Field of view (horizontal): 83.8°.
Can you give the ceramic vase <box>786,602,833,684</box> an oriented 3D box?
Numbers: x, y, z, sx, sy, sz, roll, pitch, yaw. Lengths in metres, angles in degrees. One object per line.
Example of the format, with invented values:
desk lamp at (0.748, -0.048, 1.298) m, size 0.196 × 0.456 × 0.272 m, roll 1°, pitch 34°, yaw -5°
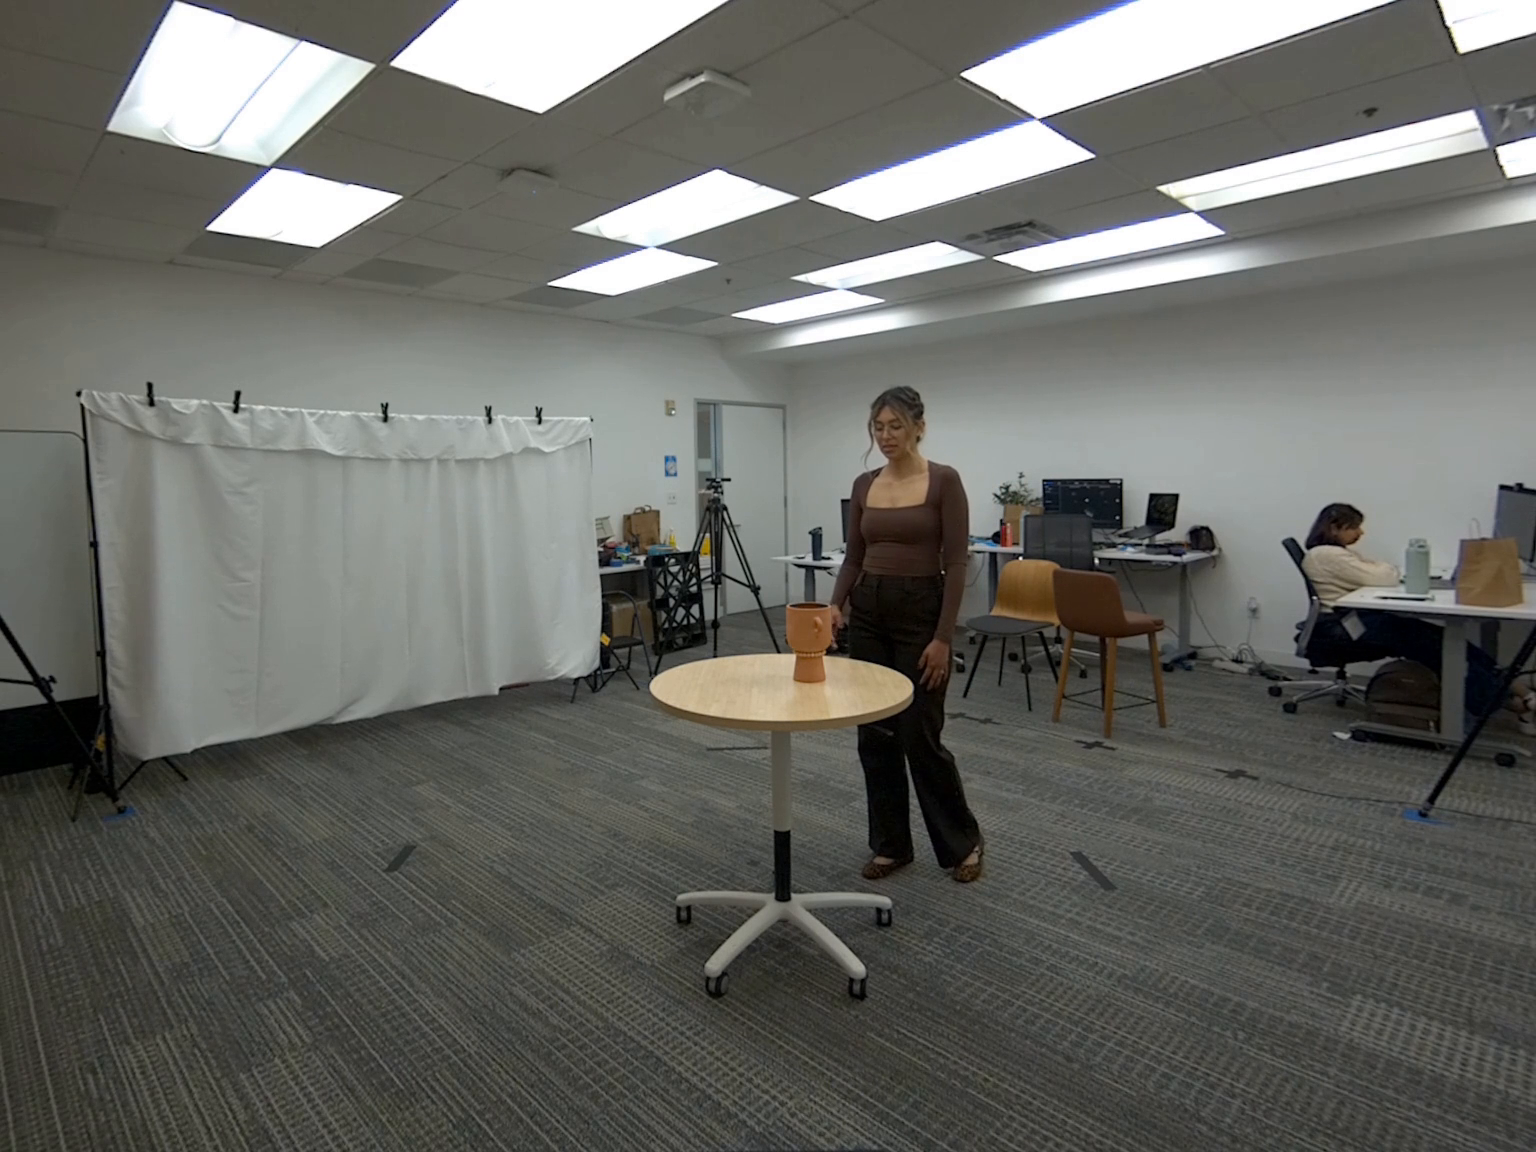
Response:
ceramic vase at (0.129, 0.199, 2.532) m, size 0.137 × 0.219 × 0.156 m, roll 1°, pitch 6°, yaw 23°
